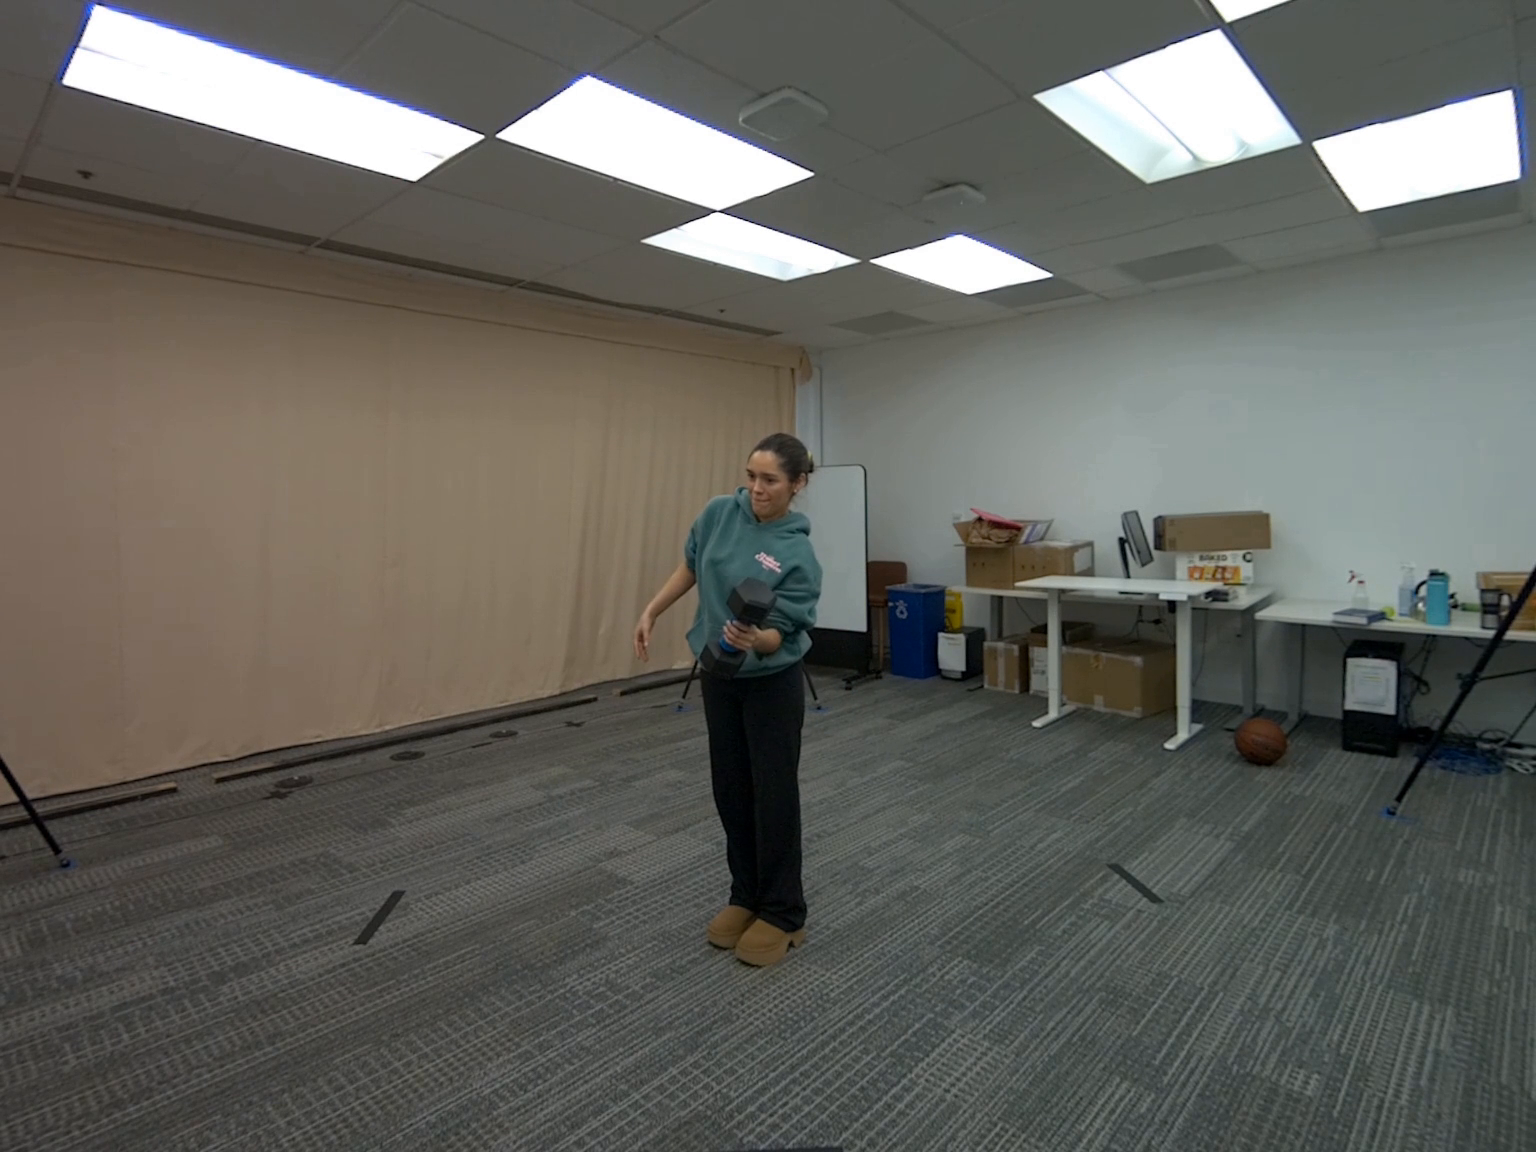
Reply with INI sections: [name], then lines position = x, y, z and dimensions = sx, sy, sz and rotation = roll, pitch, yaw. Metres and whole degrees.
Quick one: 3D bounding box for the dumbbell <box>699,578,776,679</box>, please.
[dumbbell]
position = -0.070, 0.147, 2.261
dimensions = 0.105, 0.293, 0.127
rotation = -5, 47, -39
